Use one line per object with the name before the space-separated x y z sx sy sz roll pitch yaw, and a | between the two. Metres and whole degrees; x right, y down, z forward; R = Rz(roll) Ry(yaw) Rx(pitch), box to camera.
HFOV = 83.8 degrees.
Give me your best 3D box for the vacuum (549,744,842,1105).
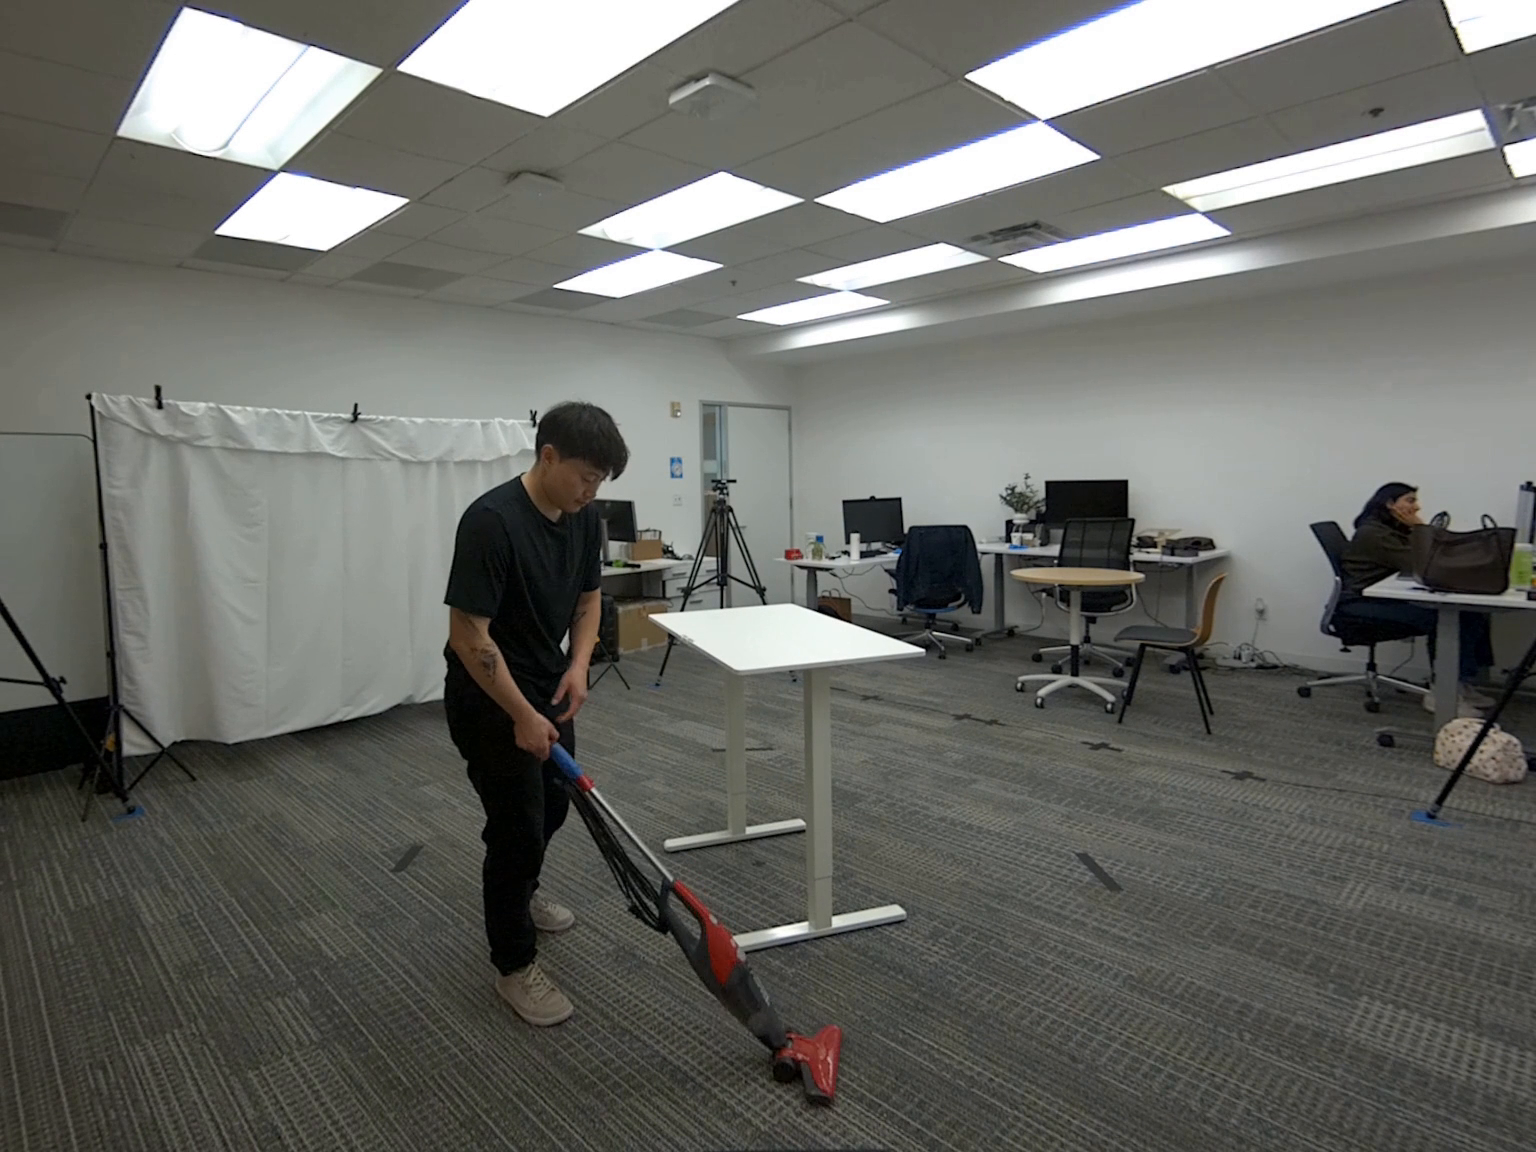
vacuum | -0.261 0.773 2.094 0.144 1.059 0.250 -46 -7 11
